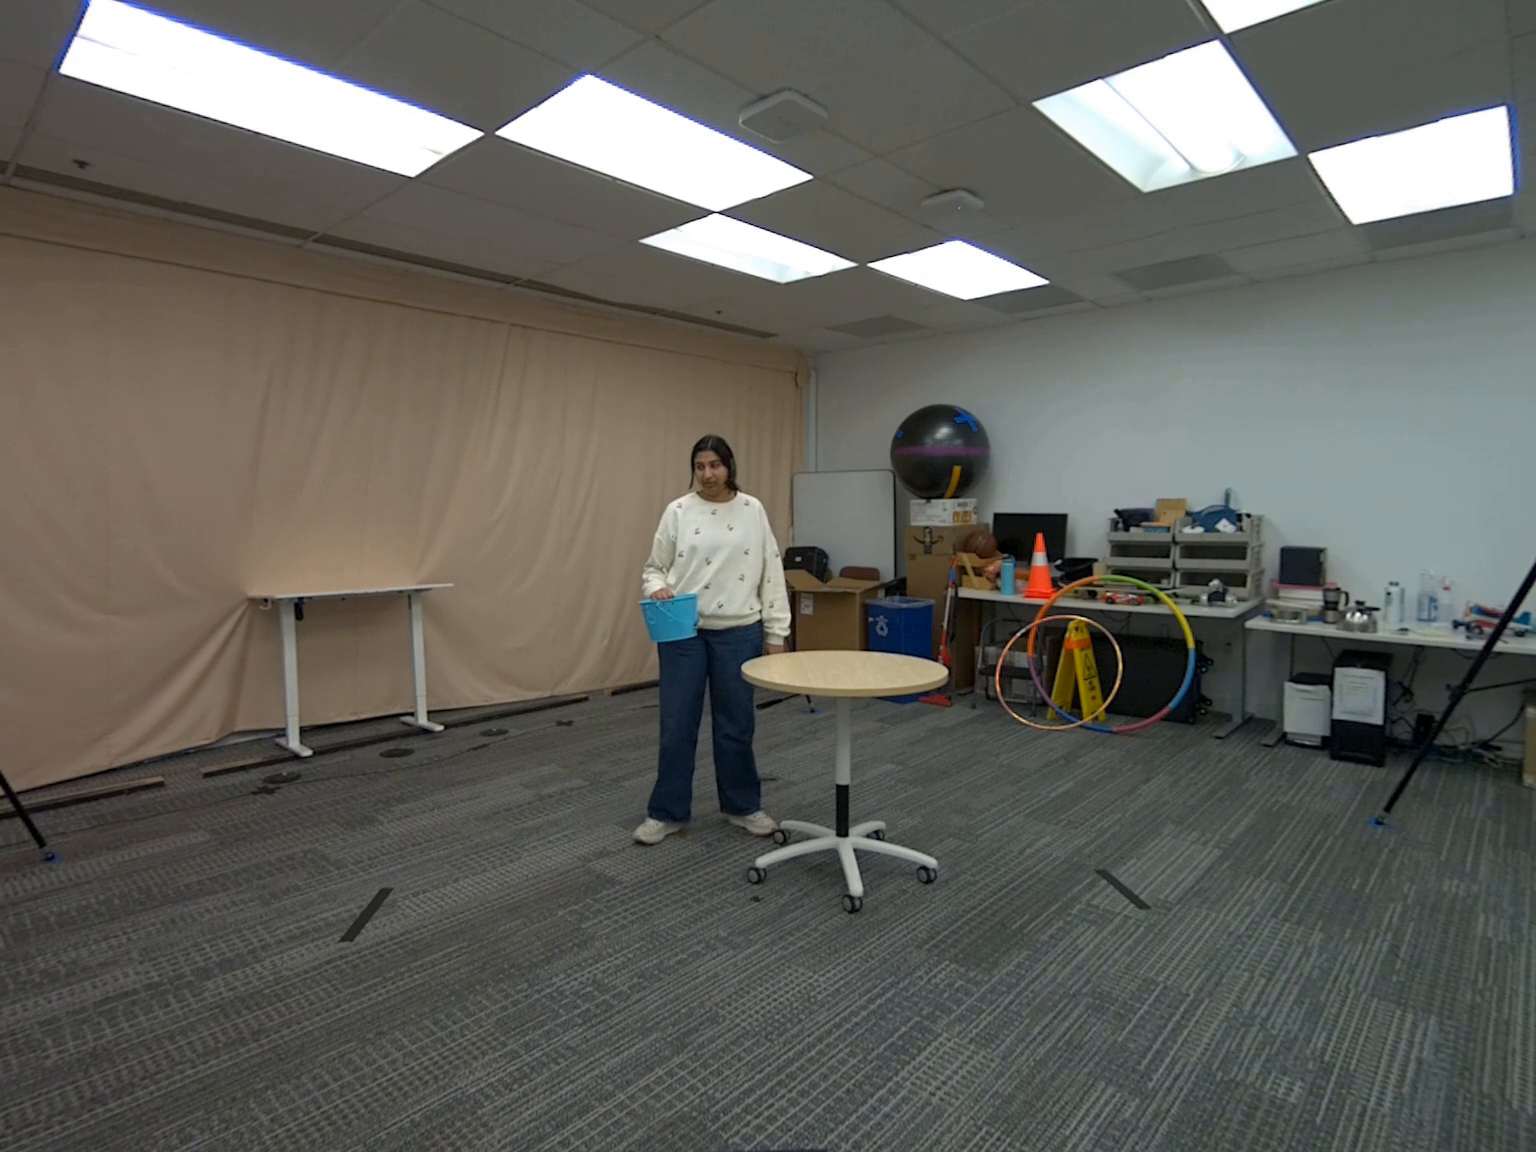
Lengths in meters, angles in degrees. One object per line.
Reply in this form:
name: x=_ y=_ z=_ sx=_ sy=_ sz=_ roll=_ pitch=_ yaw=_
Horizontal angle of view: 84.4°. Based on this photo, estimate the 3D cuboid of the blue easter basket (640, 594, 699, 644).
blue easter basket: x=-0.370 y=0.157 z=3.199 sx=0.243 sy=0.156 sz=0.244 roll=-8 pitch=1 yaw=-2
